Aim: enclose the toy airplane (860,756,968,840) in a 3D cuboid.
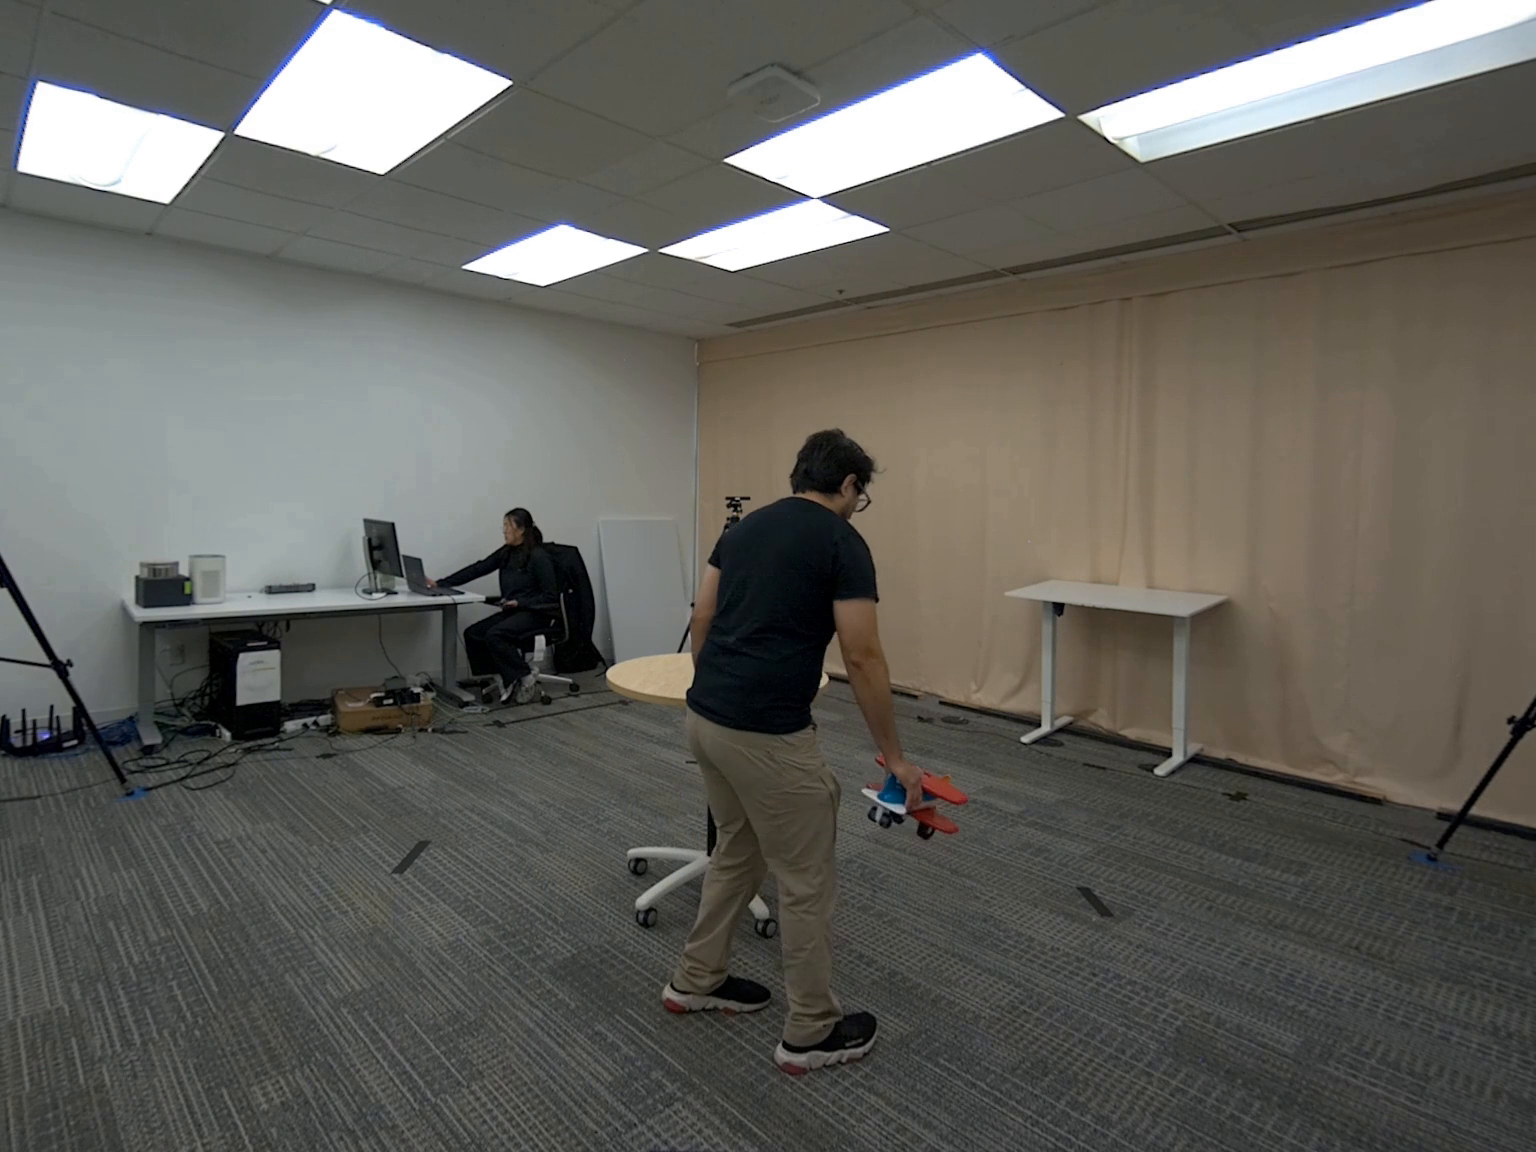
[{"bbox_3d":[0.347,0.571,2.079,0.255,0.157,0.255,24,-5,14],"label":"toy airplane"}]
